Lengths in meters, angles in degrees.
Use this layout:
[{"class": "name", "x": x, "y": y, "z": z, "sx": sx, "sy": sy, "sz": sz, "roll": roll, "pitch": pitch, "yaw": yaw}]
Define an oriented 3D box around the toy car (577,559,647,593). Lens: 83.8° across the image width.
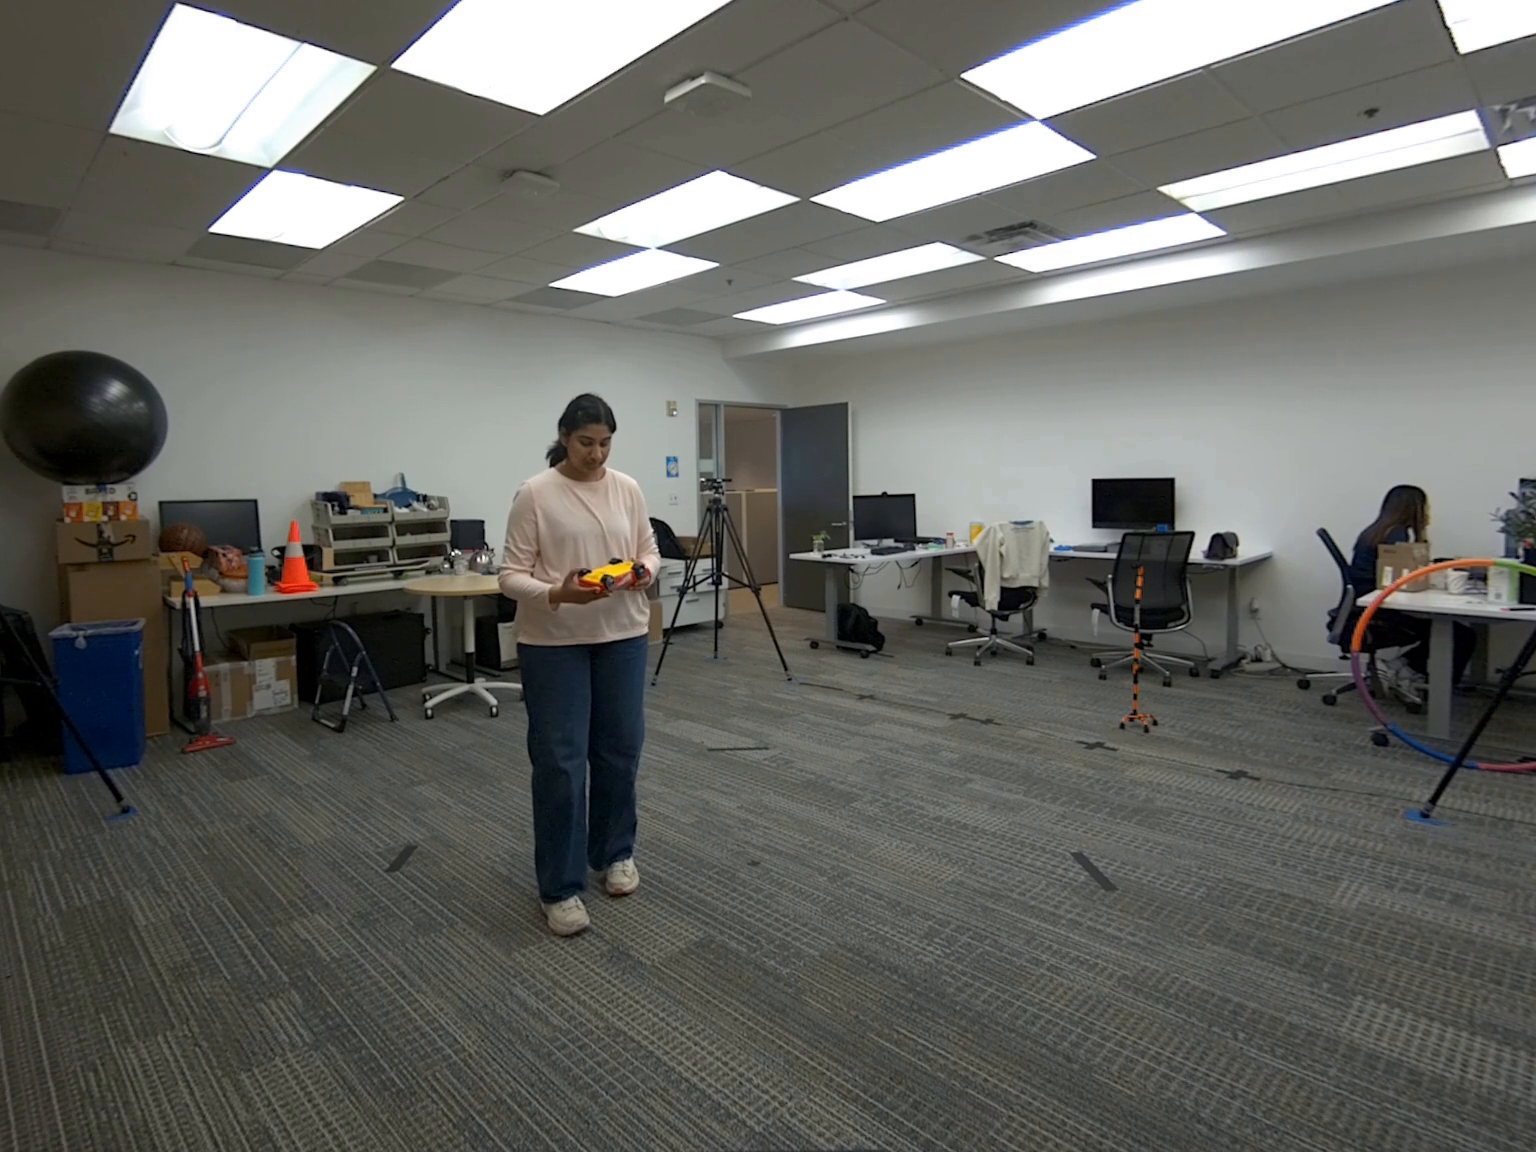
[{"class": "toy car", "x": -0.464, "y": -0.002, "z": 2.584, "sx": 0.134, "sy": 0.083, "sz": 0.248, "roll": 11, "pitch": 8, "yaw": 28}]
